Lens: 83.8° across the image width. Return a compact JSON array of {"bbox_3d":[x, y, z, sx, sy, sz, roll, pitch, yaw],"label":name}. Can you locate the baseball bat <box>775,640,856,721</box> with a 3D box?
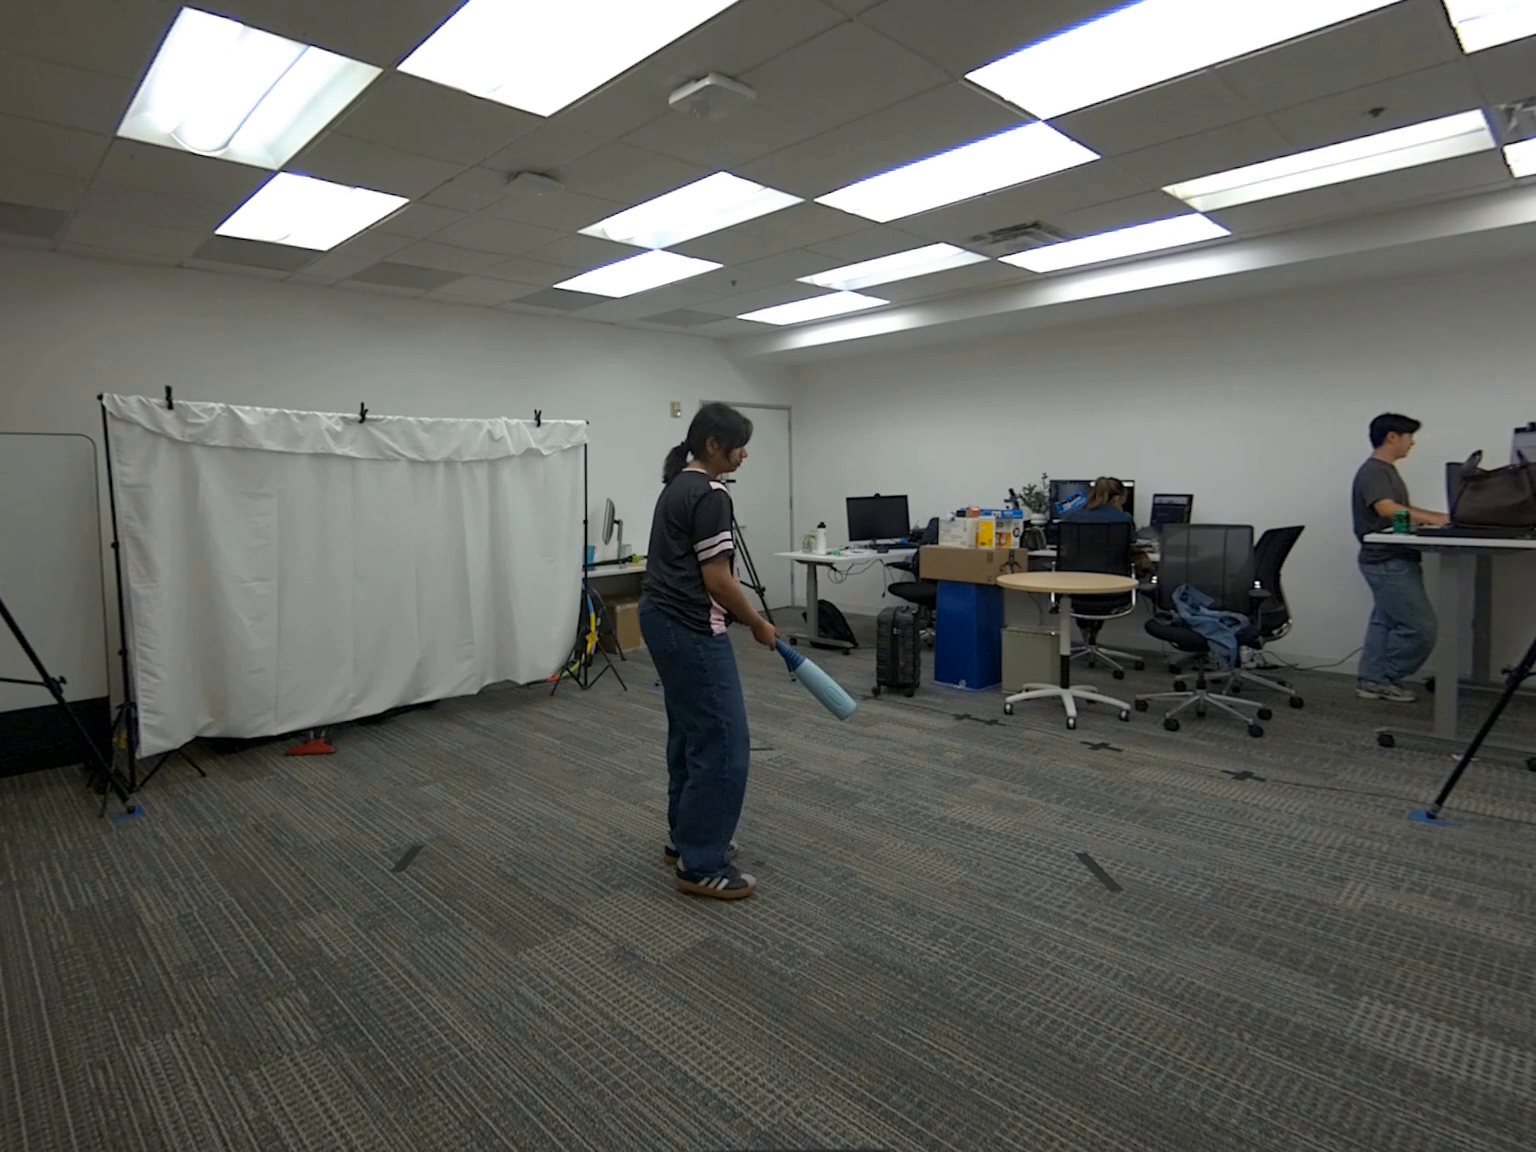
[{"bbox_3d":[0.095,0.312,3.082,0.549,0.089,0.088,42,12,8],"label":"baseball bat"}]
